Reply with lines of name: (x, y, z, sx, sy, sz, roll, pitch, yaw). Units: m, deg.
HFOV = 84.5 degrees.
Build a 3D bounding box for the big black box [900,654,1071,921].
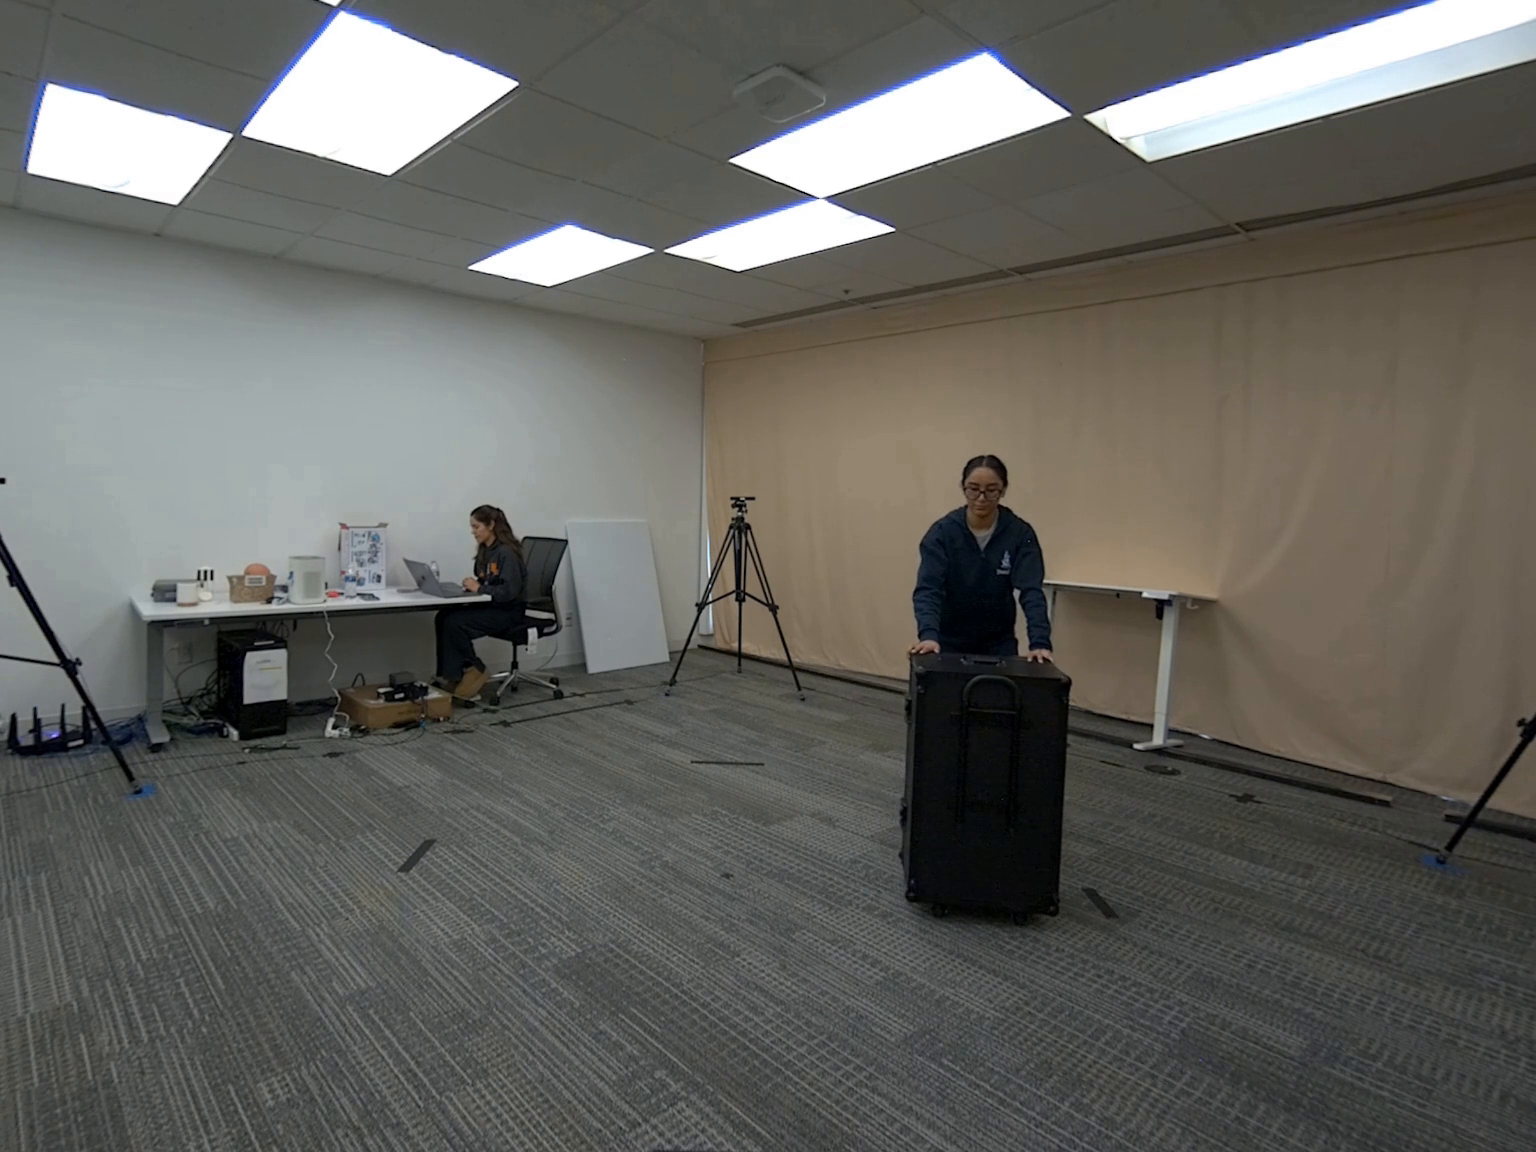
big black box: (0.725, 0.718, 2.906, 0.525, 0.859, 0.395, 2, 4, 7)
